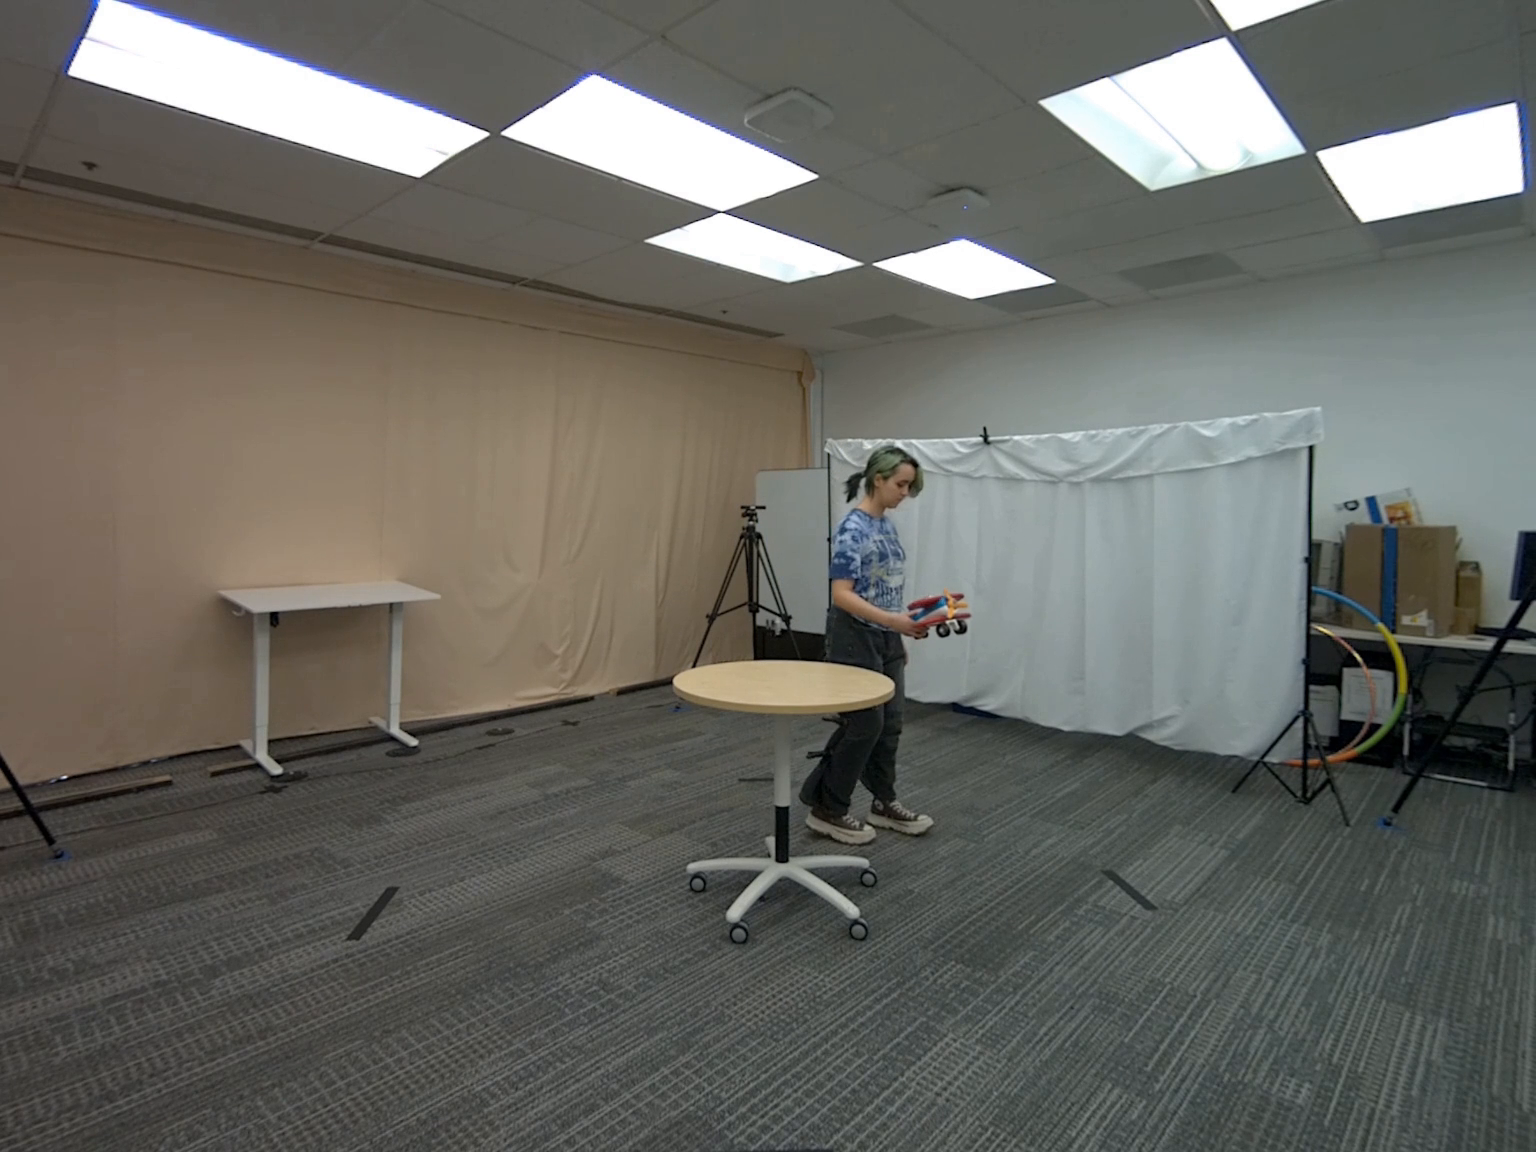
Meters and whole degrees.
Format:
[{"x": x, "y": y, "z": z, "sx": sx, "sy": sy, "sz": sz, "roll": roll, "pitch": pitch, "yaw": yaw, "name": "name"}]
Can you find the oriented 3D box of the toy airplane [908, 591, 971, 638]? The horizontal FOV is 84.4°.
[{"x": 0.619, "y": 0.157, "z": 3.205, "sx": 0.266, "sy": 0.157, "sz": 0.244, "roll": -9, "pitch": -3, "yaw": 32, "name": "toy airplane"}]
